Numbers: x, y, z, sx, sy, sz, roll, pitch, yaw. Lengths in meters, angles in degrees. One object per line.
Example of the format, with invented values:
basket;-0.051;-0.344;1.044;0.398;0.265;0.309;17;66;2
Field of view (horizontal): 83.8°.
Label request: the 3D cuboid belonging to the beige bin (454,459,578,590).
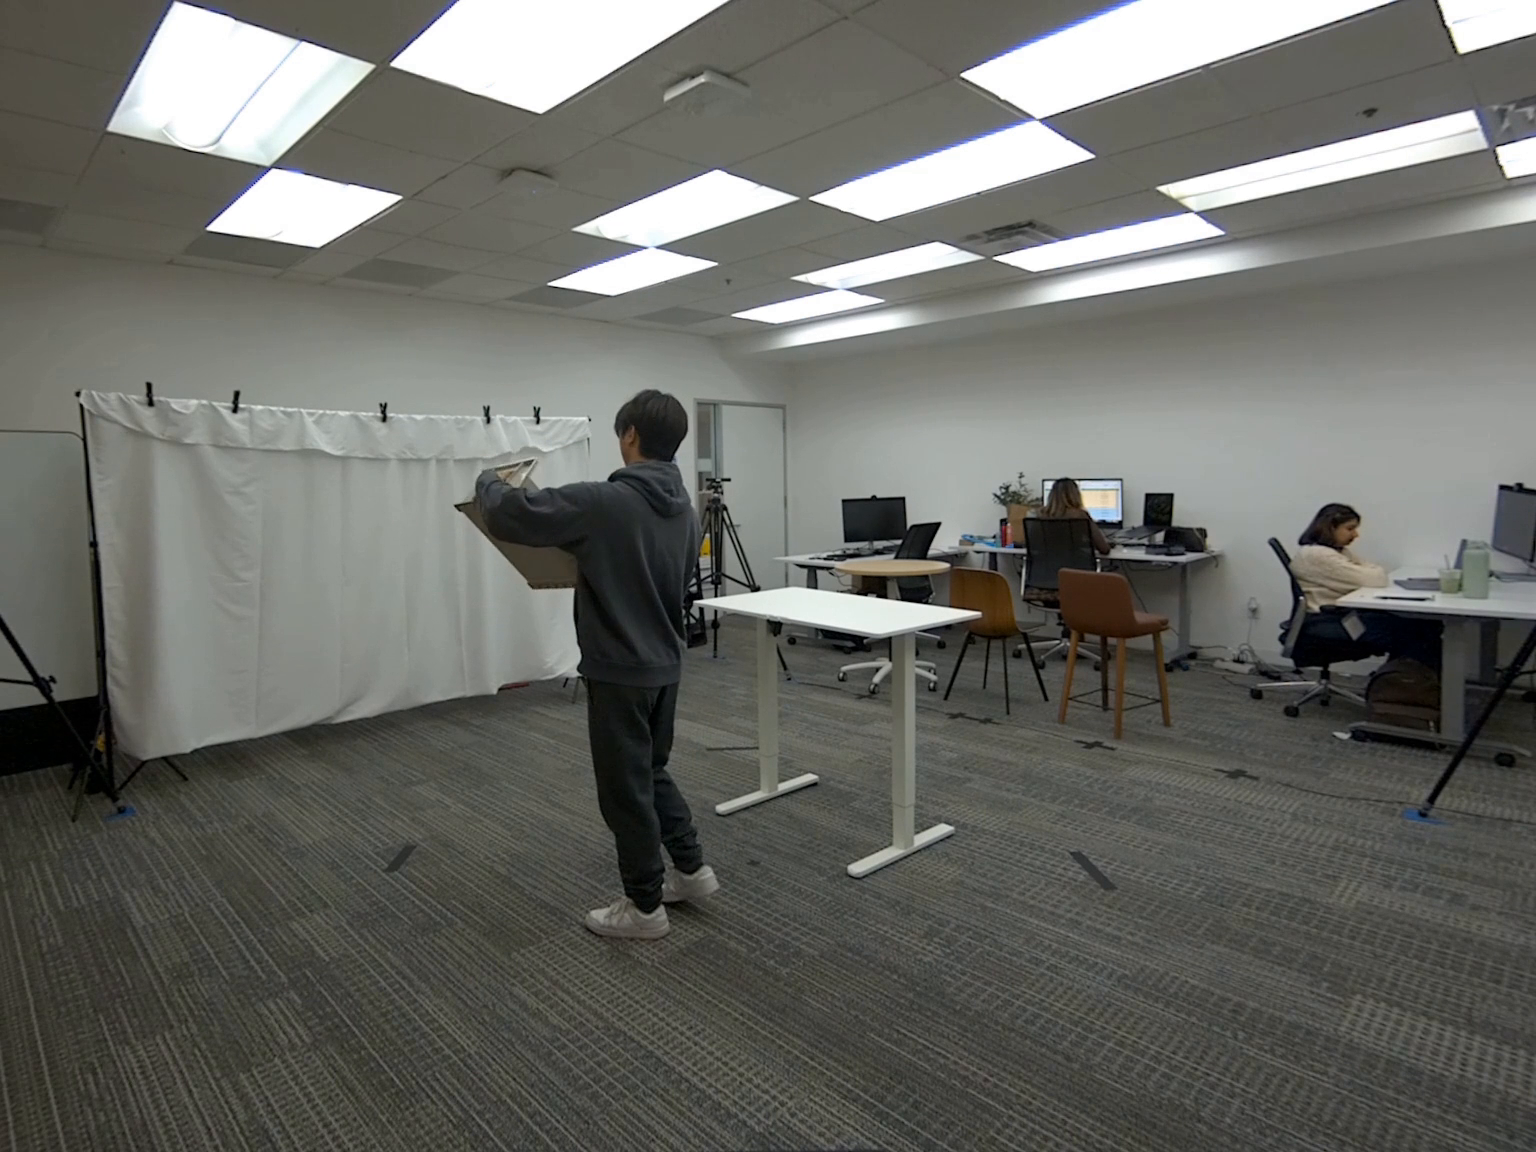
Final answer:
beige bin;-0.769;-0.161;2.840;0.388;0.409;0.190;-3;44;45
